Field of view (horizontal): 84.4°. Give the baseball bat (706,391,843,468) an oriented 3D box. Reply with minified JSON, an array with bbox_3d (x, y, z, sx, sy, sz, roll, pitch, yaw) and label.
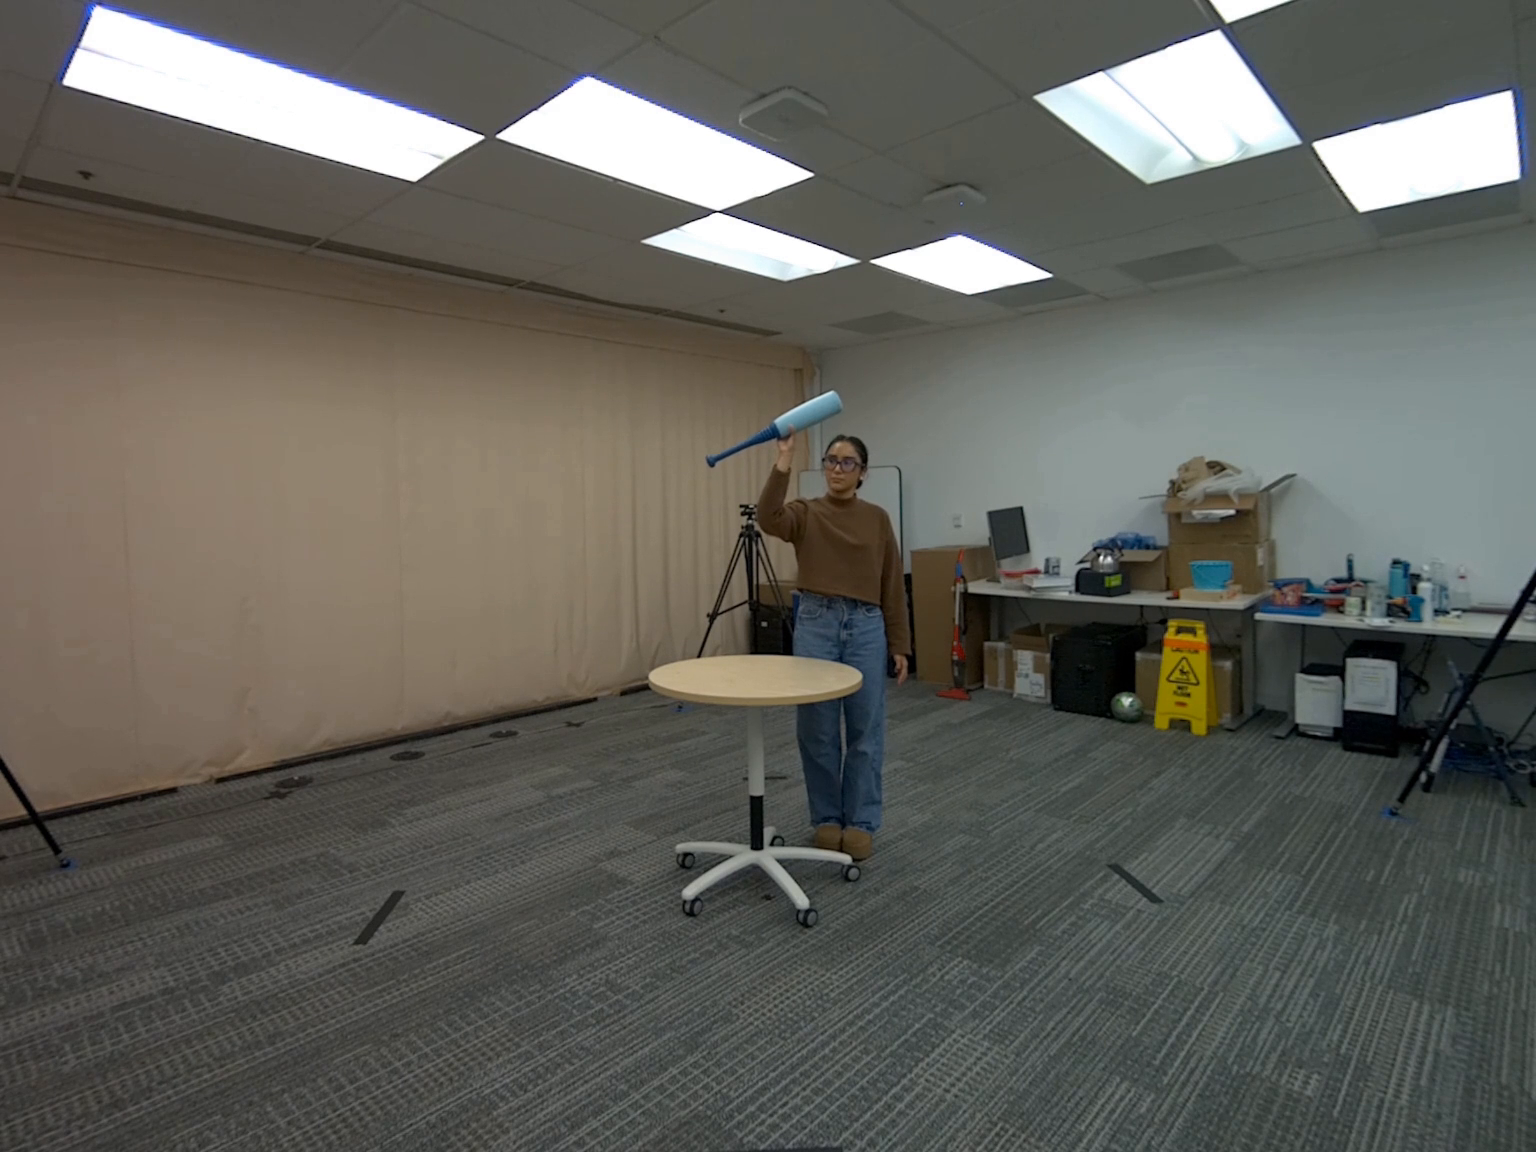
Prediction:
[{"bbox_3d":[0.020,-0.535,3.135,0.546,0.089,0.089,-24,2,6],"label":"baseball bat"}]
